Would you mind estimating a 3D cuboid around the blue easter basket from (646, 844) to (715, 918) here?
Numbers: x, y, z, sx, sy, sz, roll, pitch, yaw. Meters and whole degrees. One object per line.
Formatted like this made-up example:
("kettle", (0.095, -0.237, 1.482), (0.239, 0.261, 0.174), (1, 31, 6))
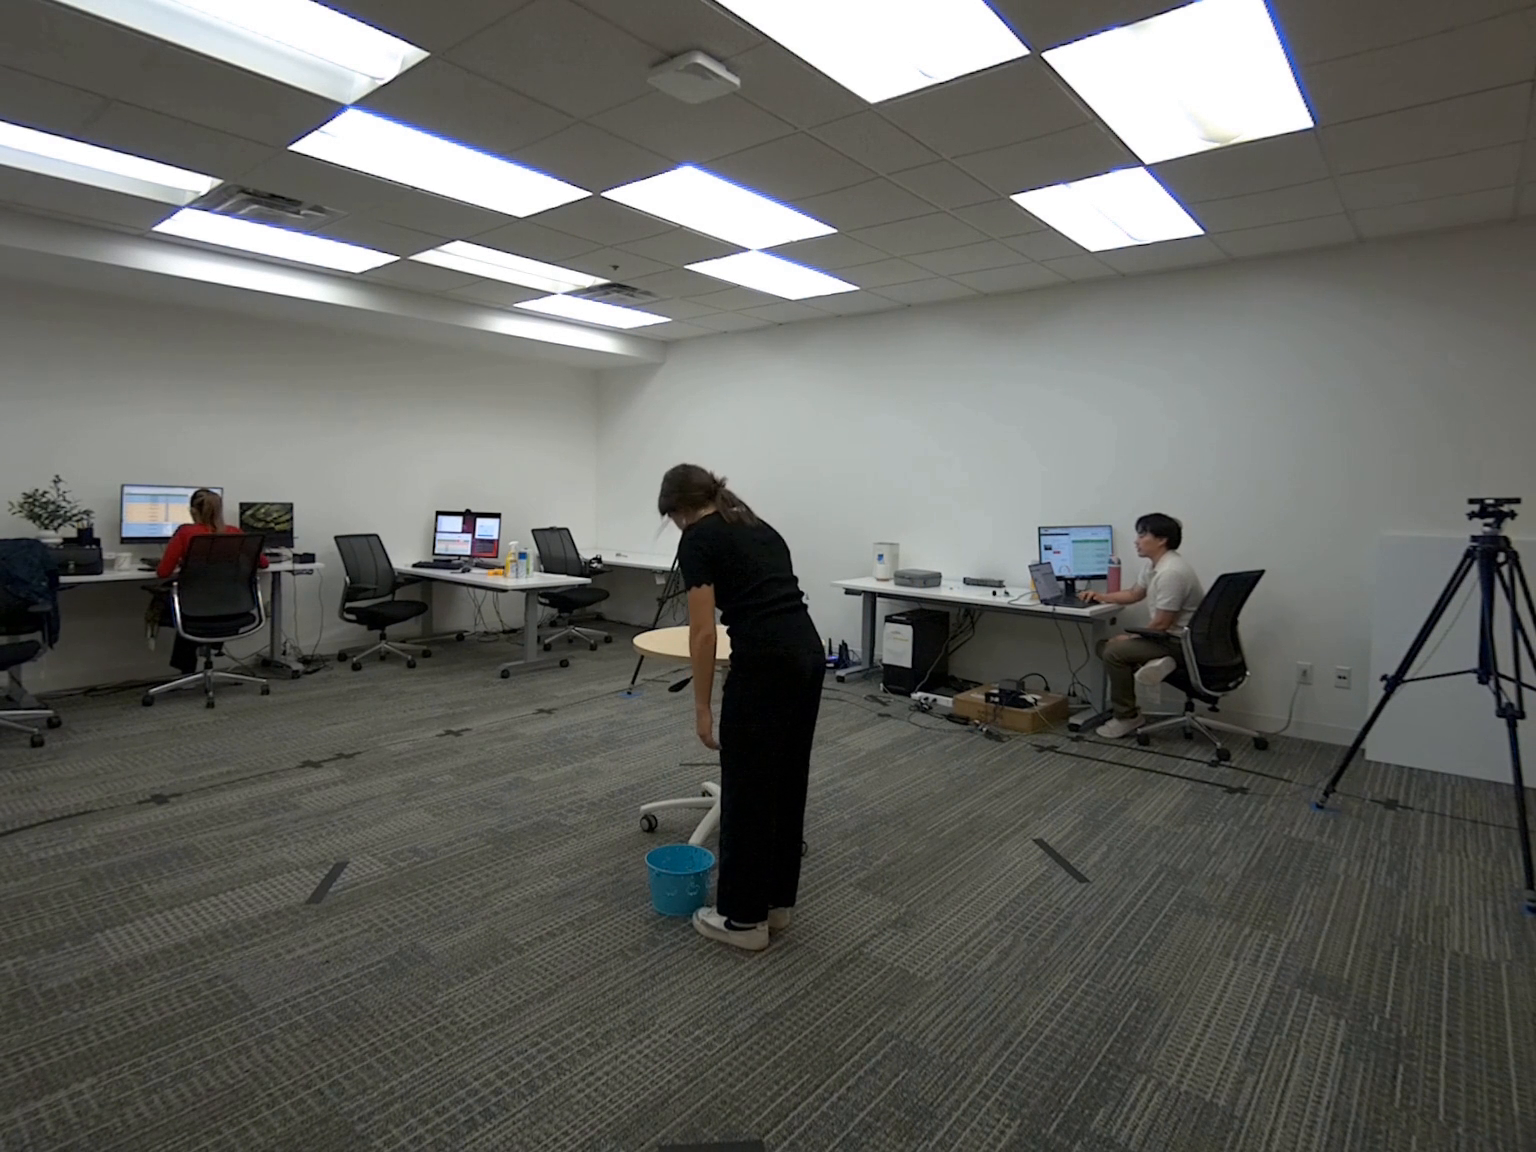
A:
("blue easter basket", (-0.305, 1.011, 2.842), (0.243, 0.155, 0.245), (1, 5, -2))
